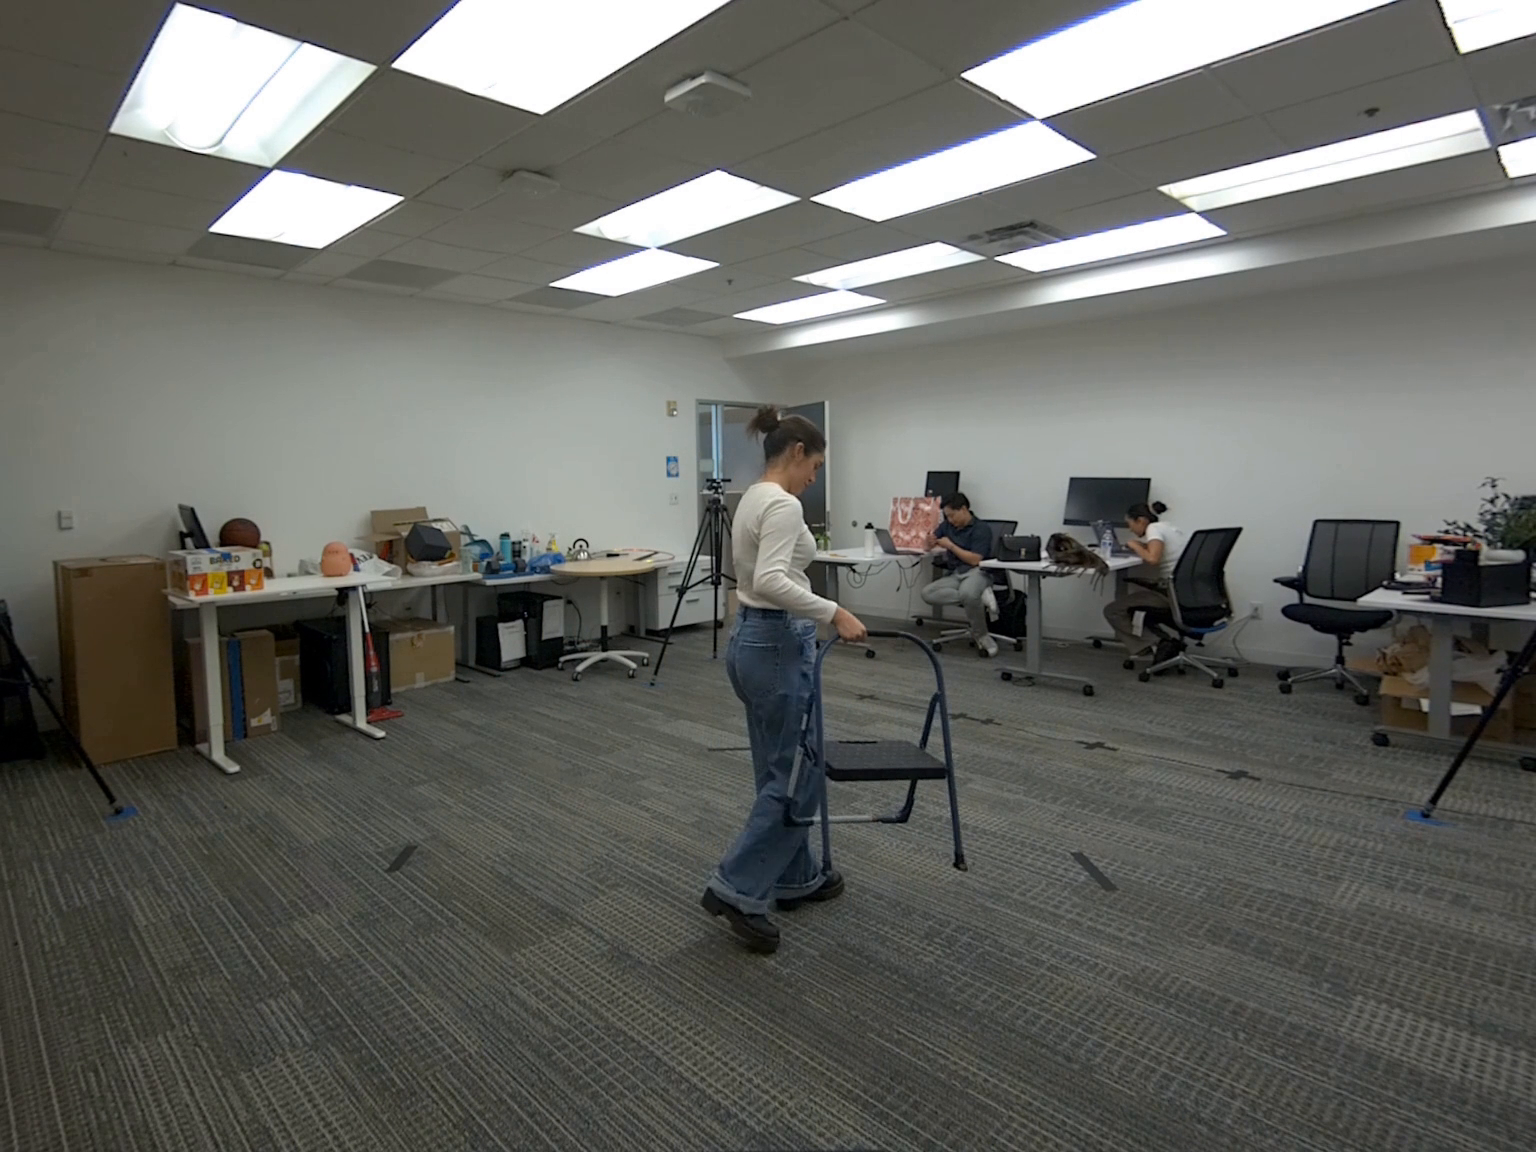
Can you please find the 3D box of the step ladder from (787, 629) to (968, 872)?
[{"bbox_3d":[0.312,0.475,2.411,0.423,0.605,0.356,4,2,-18],"label":"step ladder"}]
